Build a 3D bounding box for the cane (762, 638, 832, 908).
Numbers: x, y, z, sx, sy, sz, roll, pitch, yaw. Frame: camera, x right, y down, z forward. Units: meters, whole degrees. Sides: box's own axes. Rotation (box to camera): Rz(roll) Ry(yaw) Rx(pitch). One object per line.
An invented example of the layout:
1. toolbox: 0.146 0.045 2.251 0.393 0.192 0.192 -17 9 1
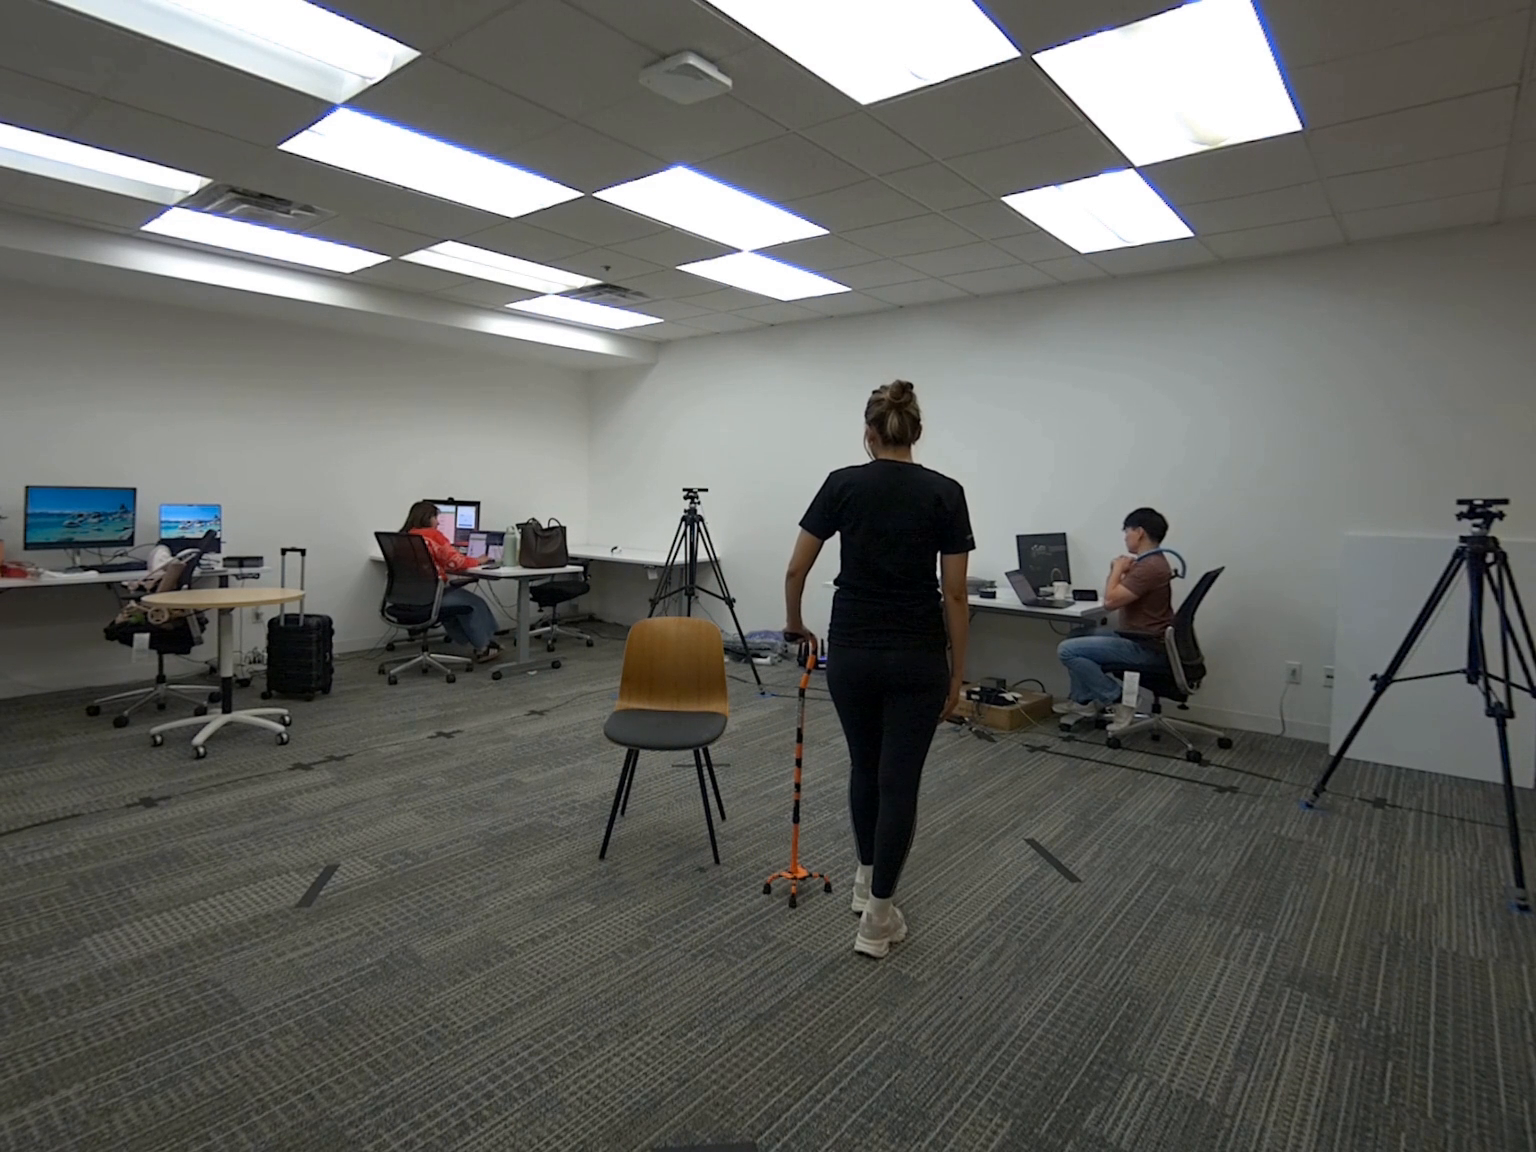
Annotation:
1. cane: 0.105 0.634 2.934 0.200 0.906 0.157 -1 3 -42
